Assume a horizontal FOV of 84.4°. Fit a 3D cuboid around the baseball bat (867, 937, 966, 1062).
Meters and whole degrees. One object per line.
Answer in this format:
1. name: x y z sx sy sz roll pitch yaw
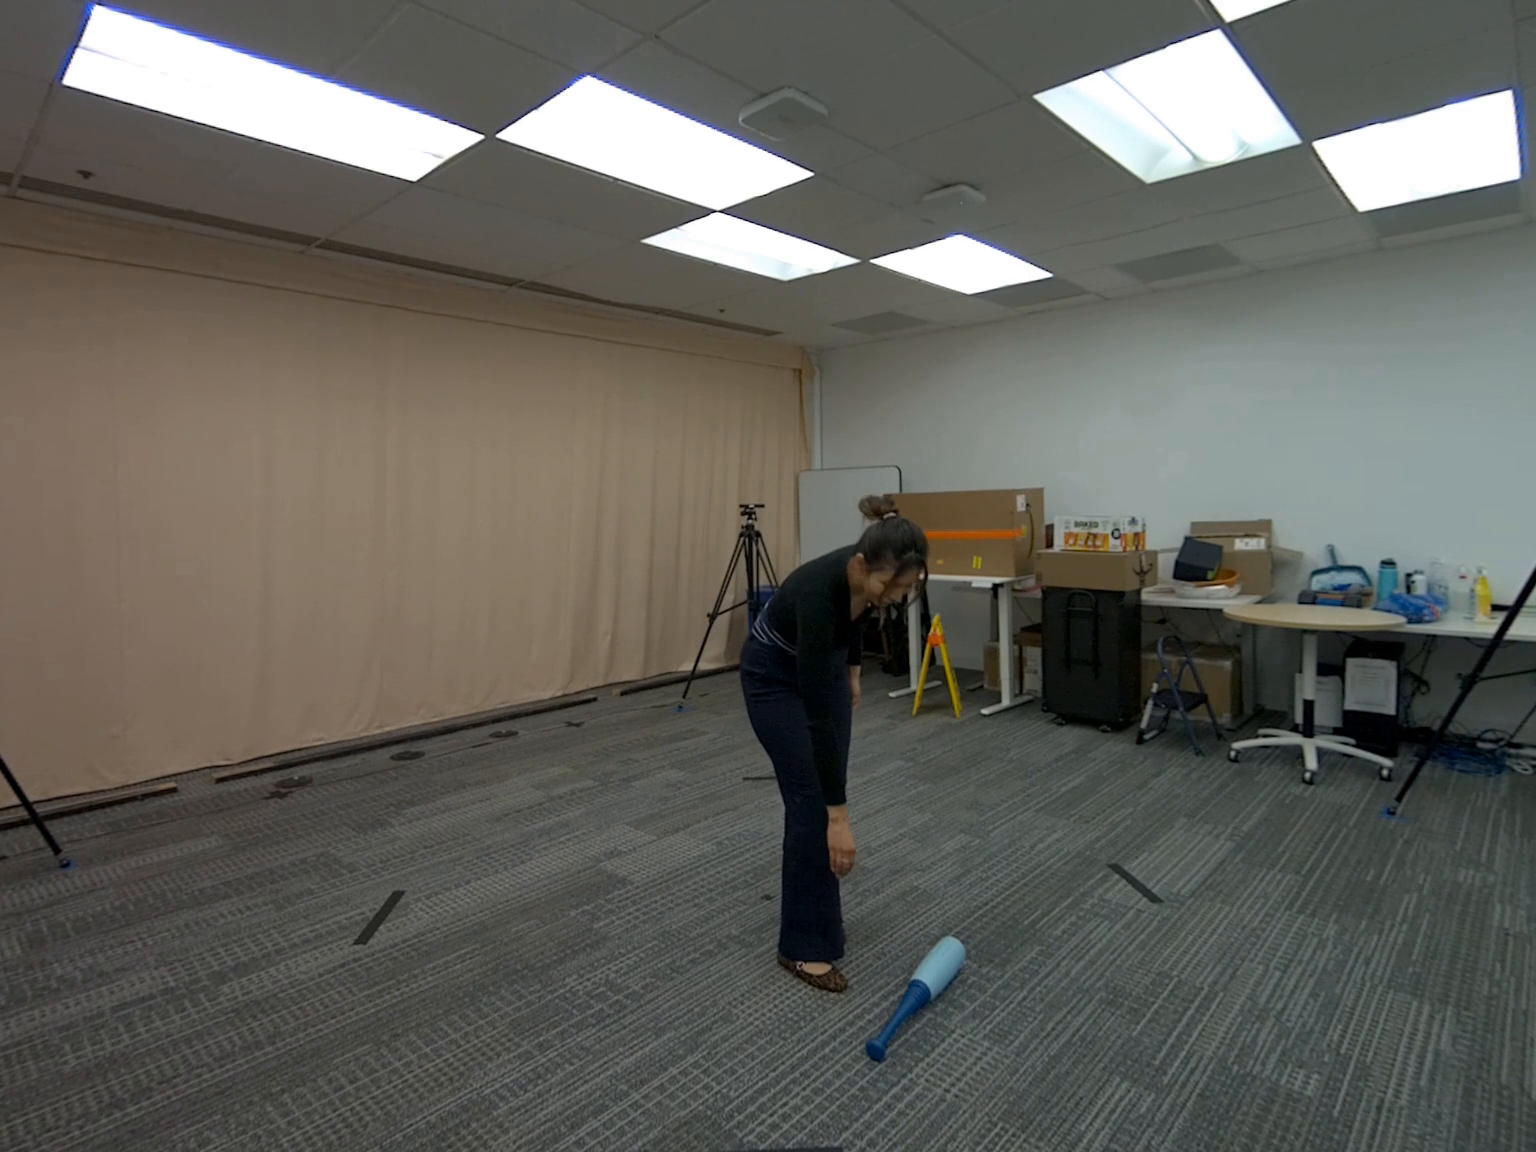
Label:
1. baseball bat: 0.416 1.155 2.306 0.092 0.089 0.528 2 8 35
